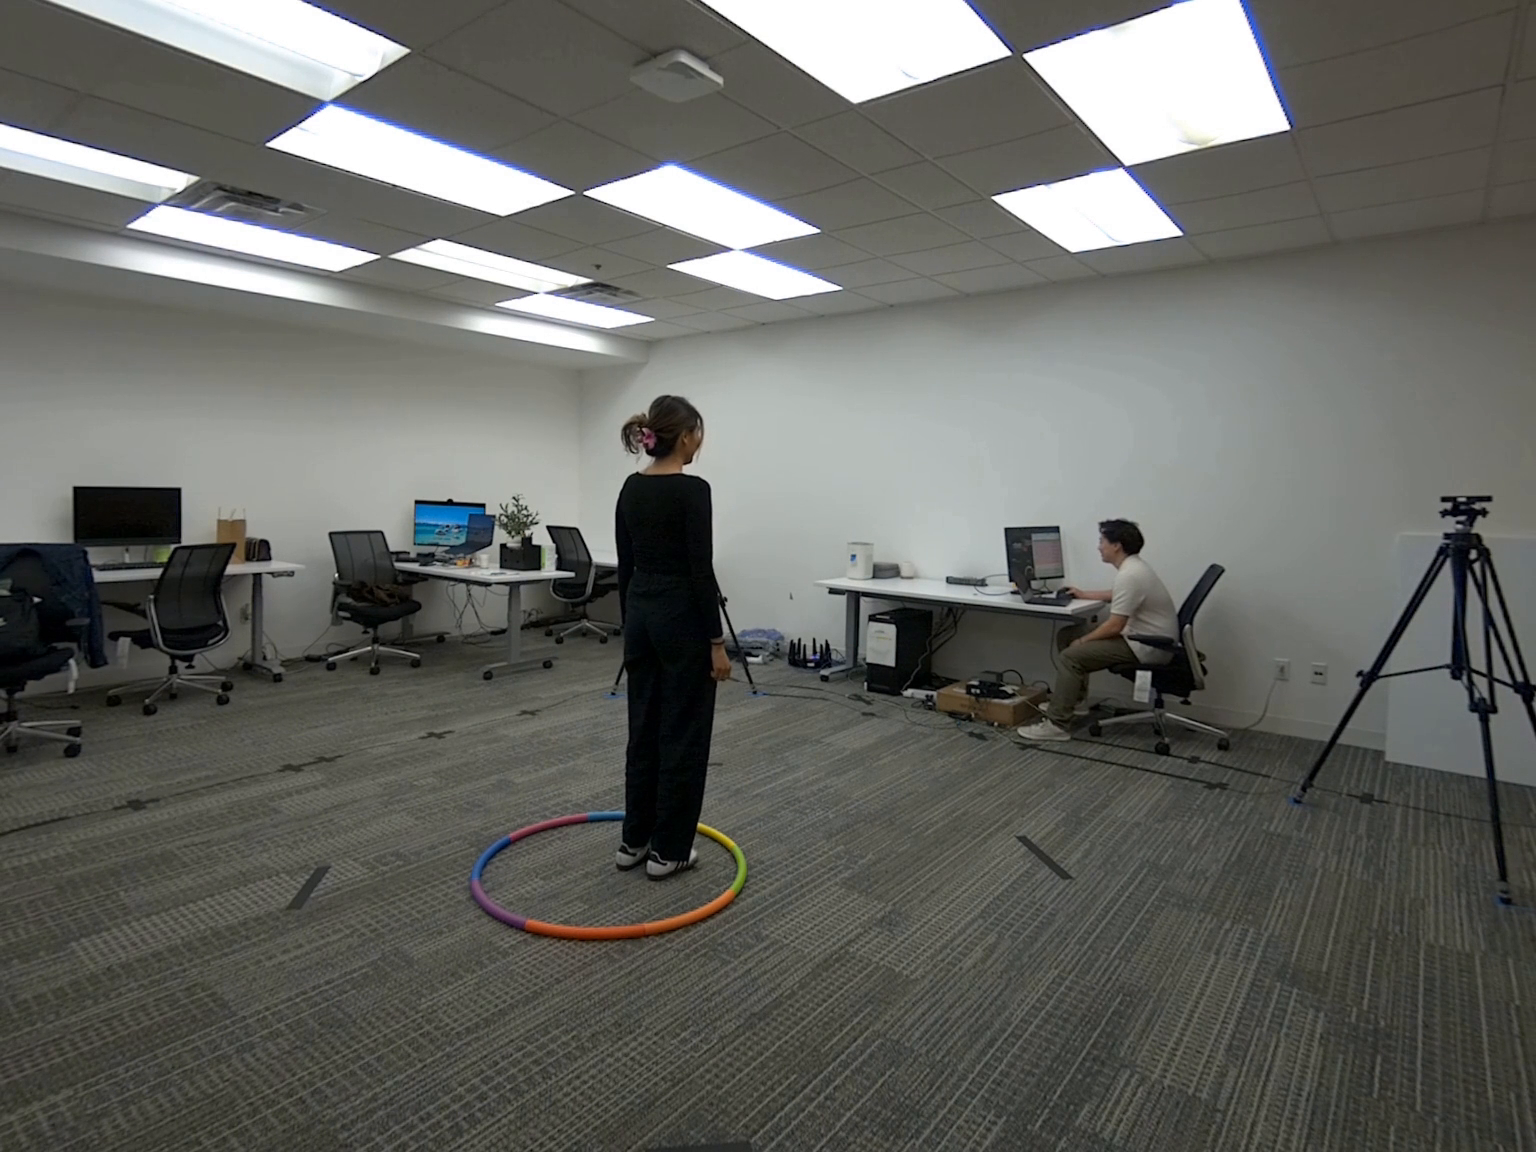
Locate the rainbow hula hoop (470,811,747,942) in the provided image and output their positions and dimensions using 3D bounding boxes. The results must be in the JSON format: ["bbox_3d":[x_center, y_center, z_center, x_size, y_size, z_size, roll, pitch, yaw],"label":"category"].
[{"bbox_3d":[-0.574,1.036,3.083,0.978,0.035,0.984,1,6,-2],"label":"rainbow hula hoop"}]
